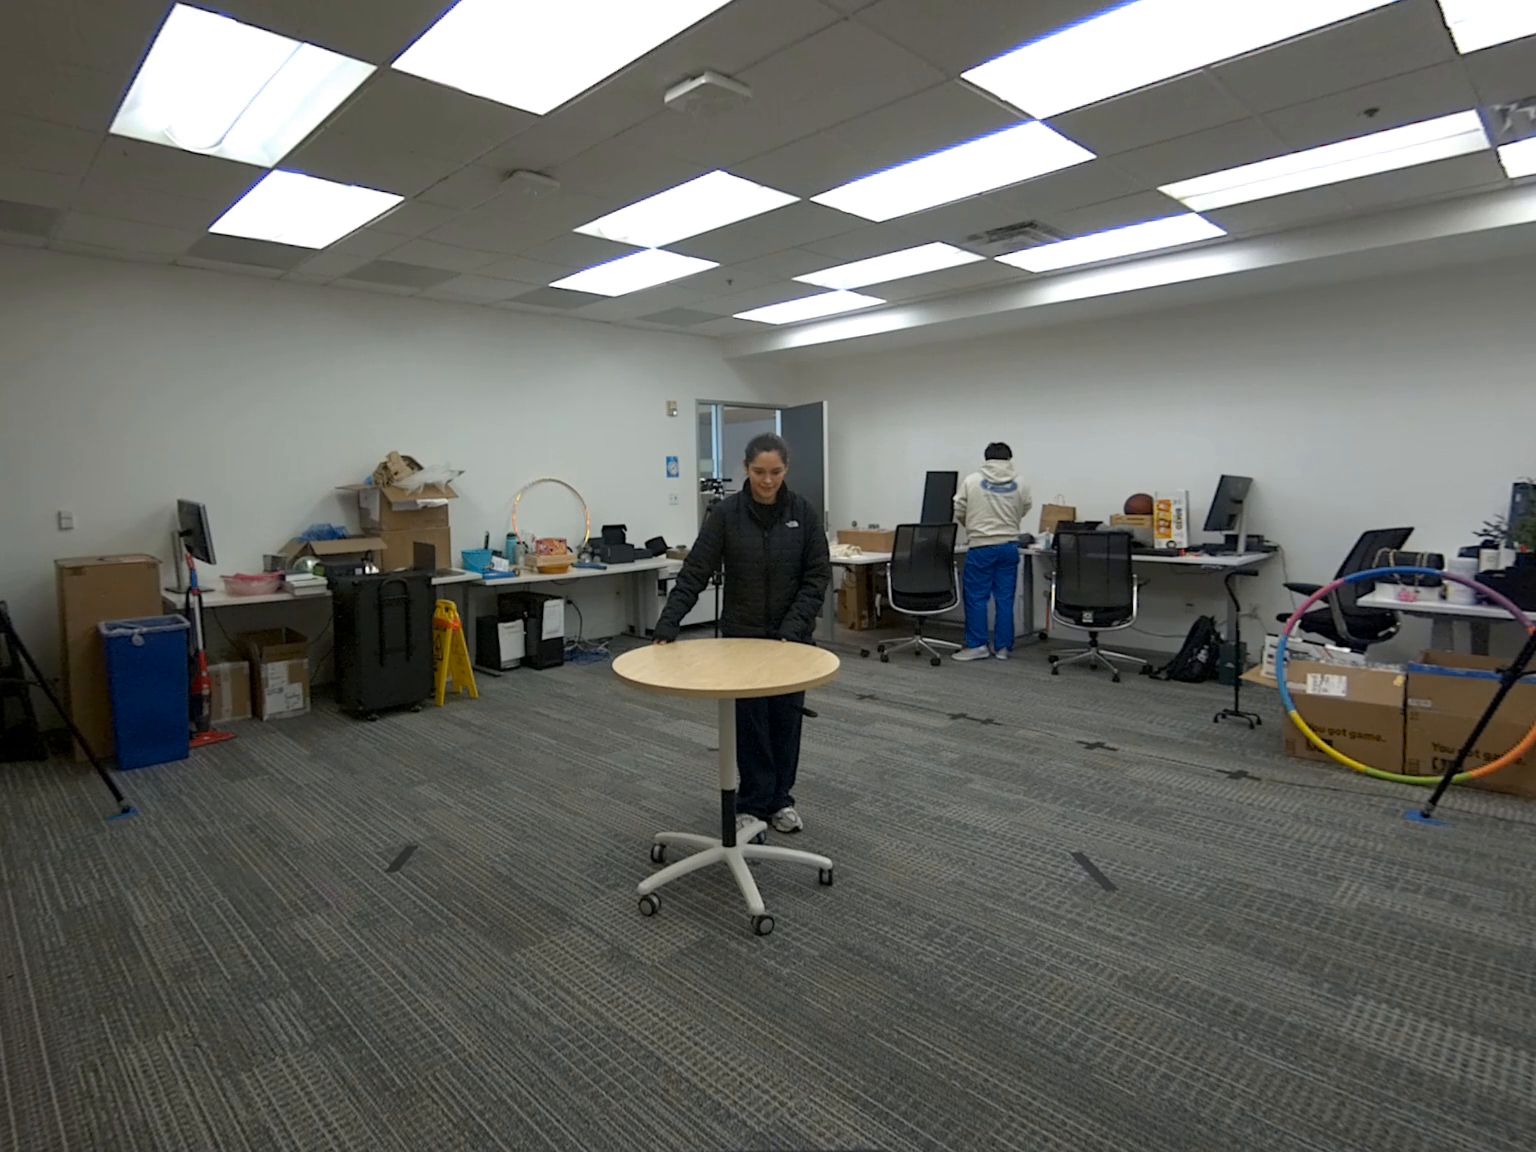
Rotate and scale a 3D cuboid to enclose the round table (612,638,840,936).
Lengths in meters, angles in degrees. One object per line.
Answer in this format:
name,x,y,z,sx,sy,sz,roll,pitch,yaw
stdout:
round table,-0.138,0.678,2.920,0.784,0.783,0.789,-1,5,-2
